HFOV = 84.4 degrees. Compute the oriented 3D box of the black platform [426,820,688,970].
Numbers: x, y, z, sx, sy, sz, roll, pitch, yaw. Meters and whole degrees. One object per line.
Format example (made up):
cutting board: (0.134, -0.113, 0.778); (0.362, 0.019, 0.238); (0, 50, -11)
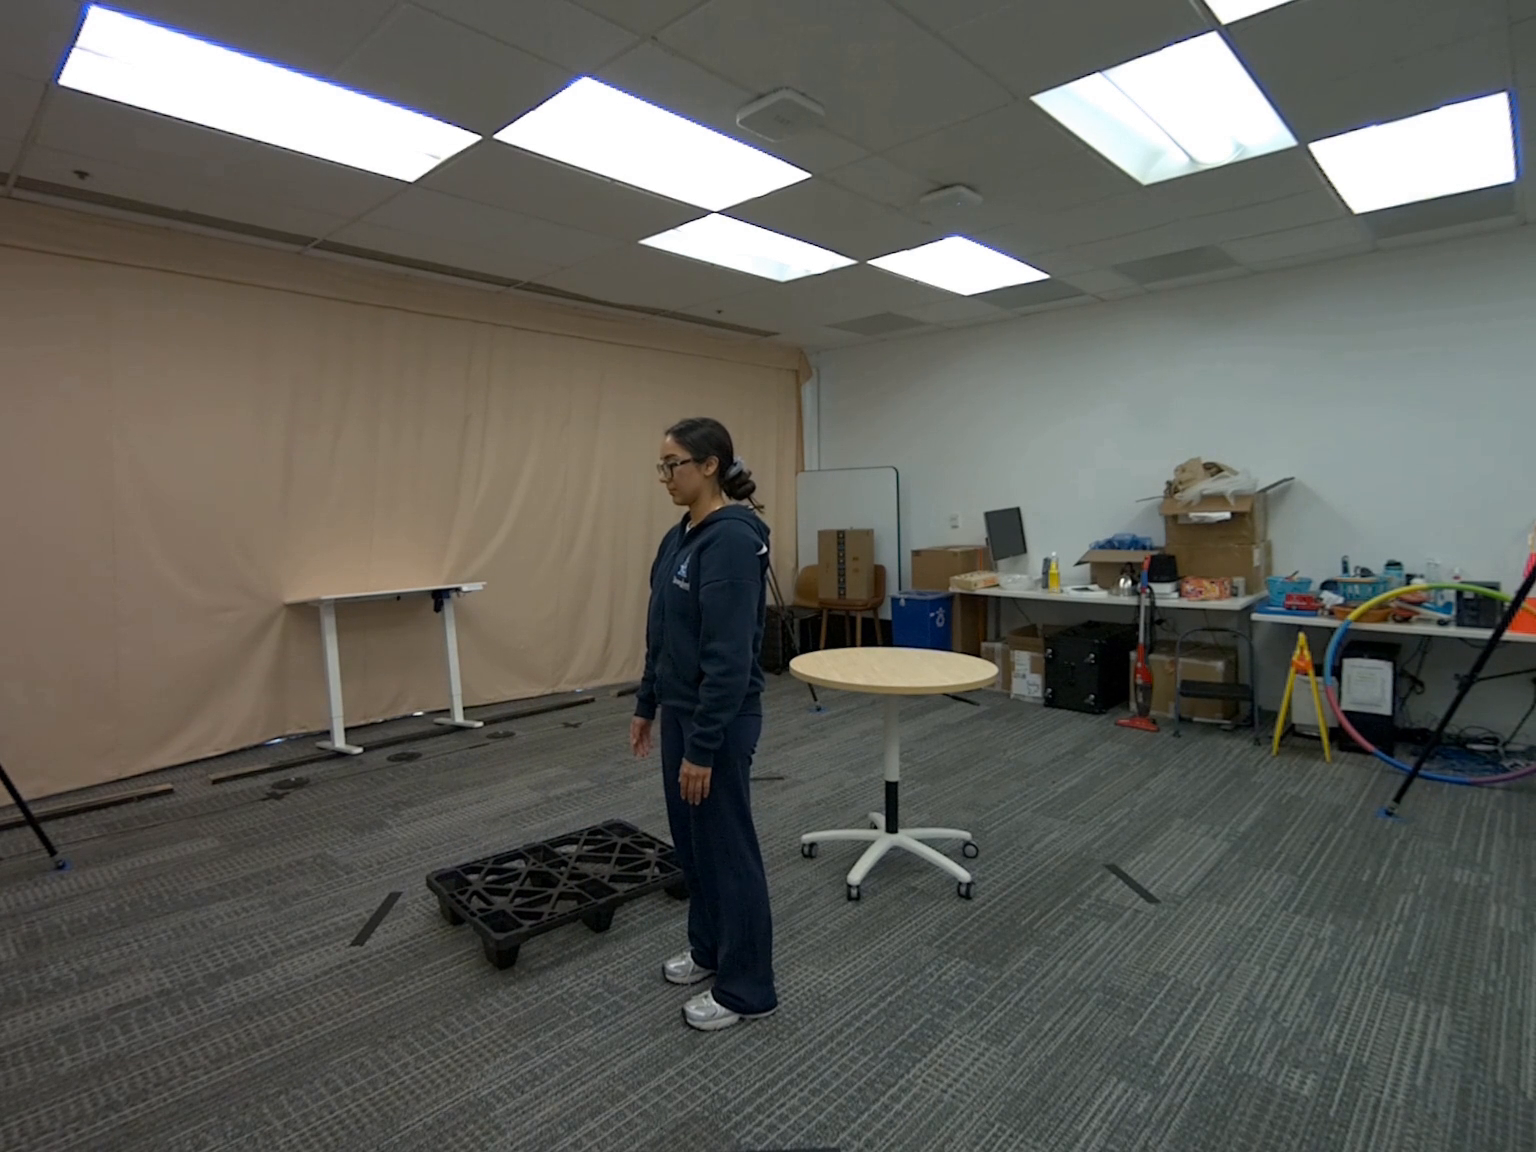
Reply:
black platform: (-0.696, 1.096, 2.953); (0.782, 0.143, 0.625); (-6, 7, -40)
